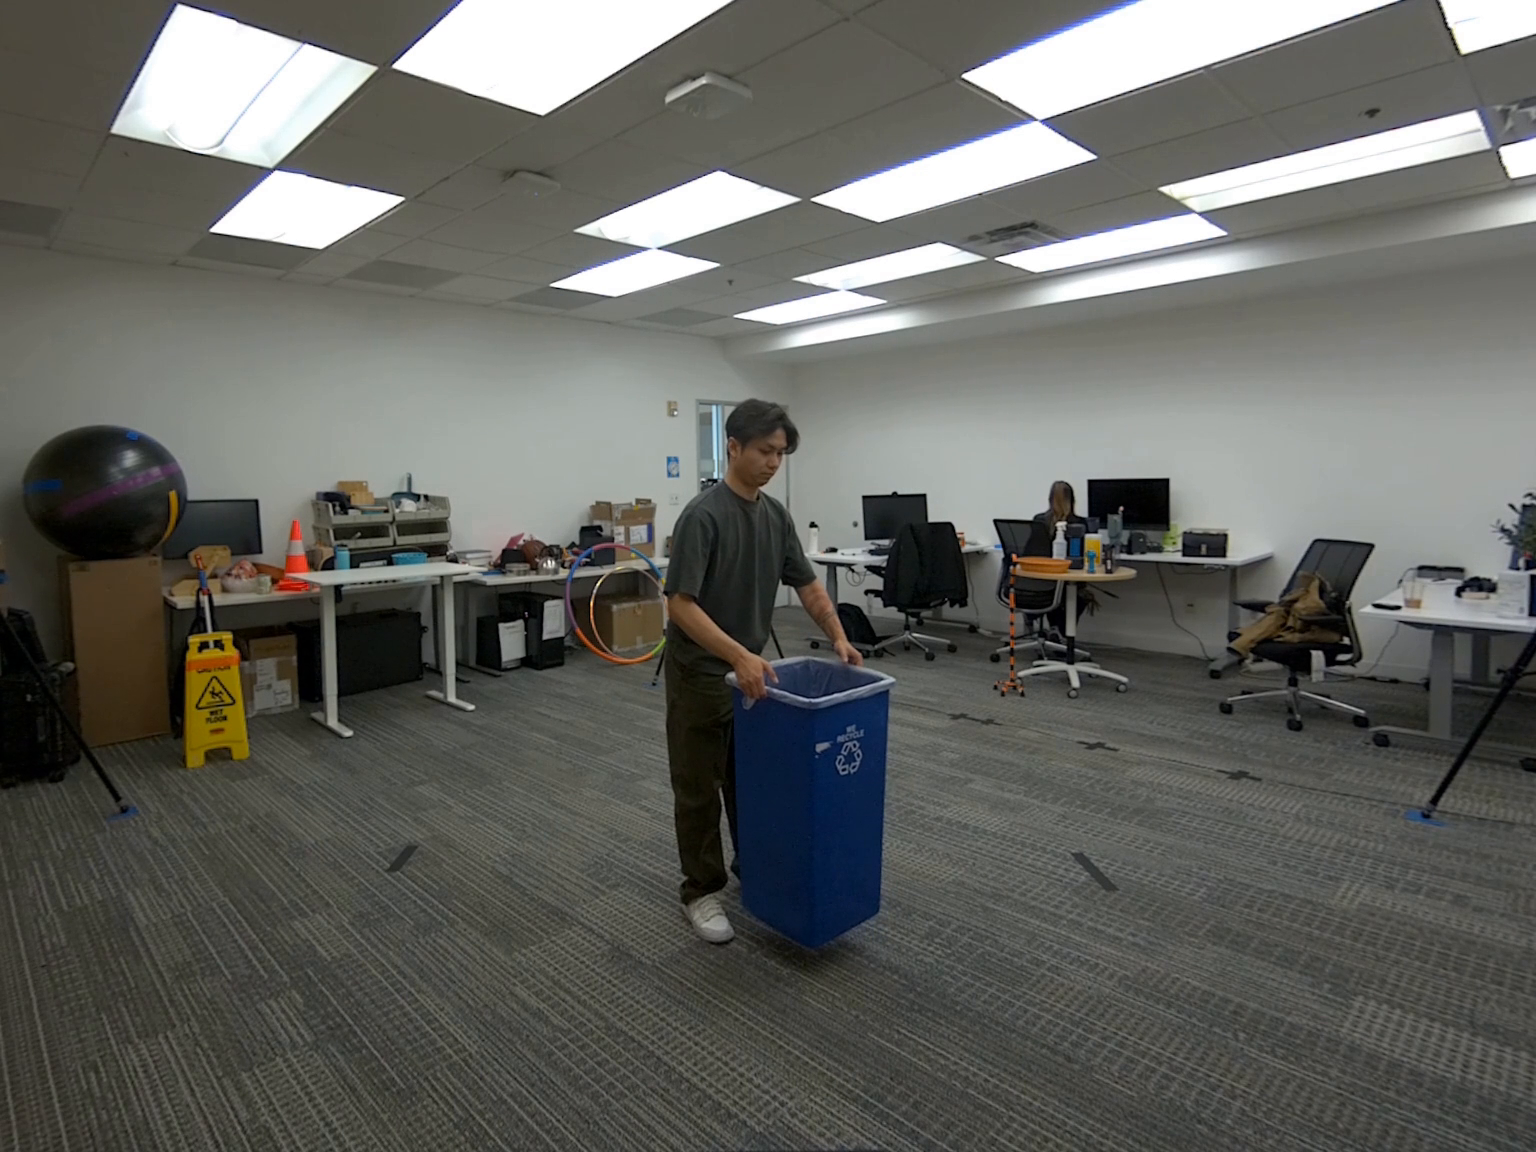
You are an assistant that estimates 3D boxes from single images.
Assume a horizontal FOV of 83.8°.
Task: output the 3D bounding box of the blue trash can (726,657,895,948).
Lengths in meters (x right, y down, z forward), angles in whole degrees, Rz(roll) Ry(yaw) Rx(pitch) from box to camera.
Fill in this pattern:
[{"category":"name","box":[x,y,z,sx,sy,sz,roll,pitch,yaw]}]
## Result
[{"category":"blue trash can","box":[0.131,0.646,2.531,0.364,0.709,0.390,-7,9,-41]}]
